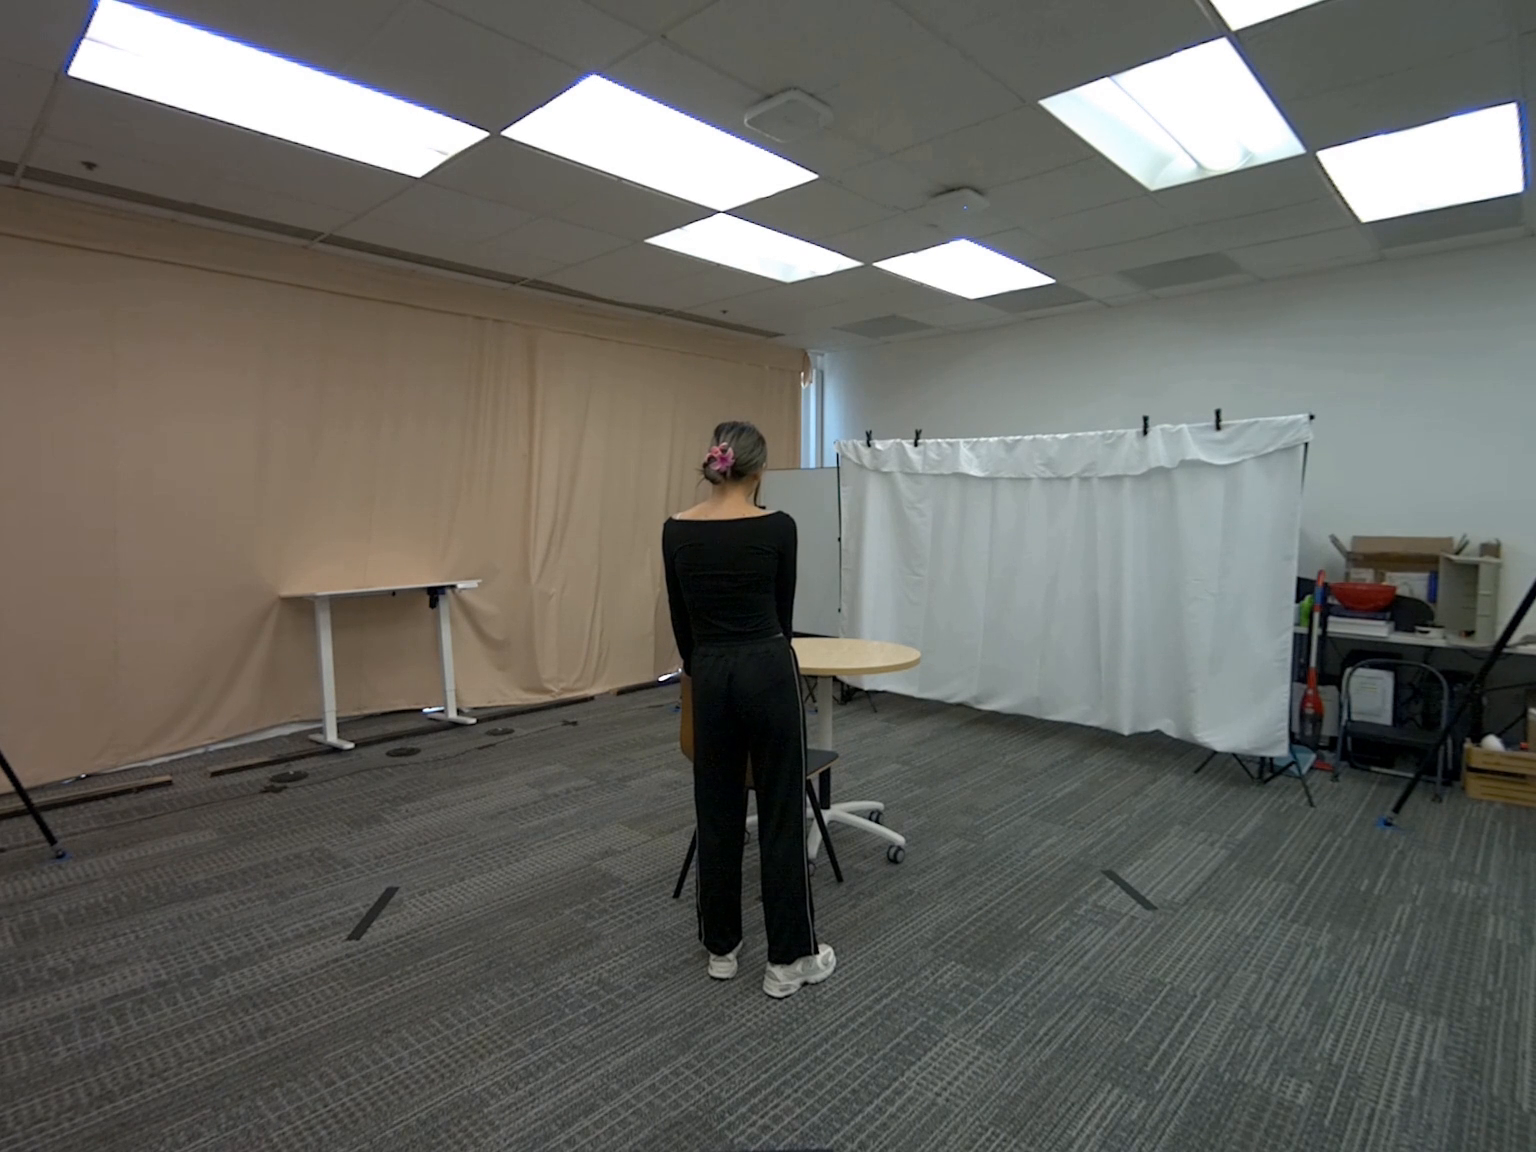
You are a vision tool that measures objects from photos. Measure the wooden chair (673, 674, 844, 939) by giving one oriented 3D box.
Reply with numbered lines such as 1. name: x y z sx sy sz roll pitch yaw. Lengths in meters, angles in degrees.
1. wooden chair: -0.029 0.708 3.024 0.493 0.873 0.510 2 8 33
